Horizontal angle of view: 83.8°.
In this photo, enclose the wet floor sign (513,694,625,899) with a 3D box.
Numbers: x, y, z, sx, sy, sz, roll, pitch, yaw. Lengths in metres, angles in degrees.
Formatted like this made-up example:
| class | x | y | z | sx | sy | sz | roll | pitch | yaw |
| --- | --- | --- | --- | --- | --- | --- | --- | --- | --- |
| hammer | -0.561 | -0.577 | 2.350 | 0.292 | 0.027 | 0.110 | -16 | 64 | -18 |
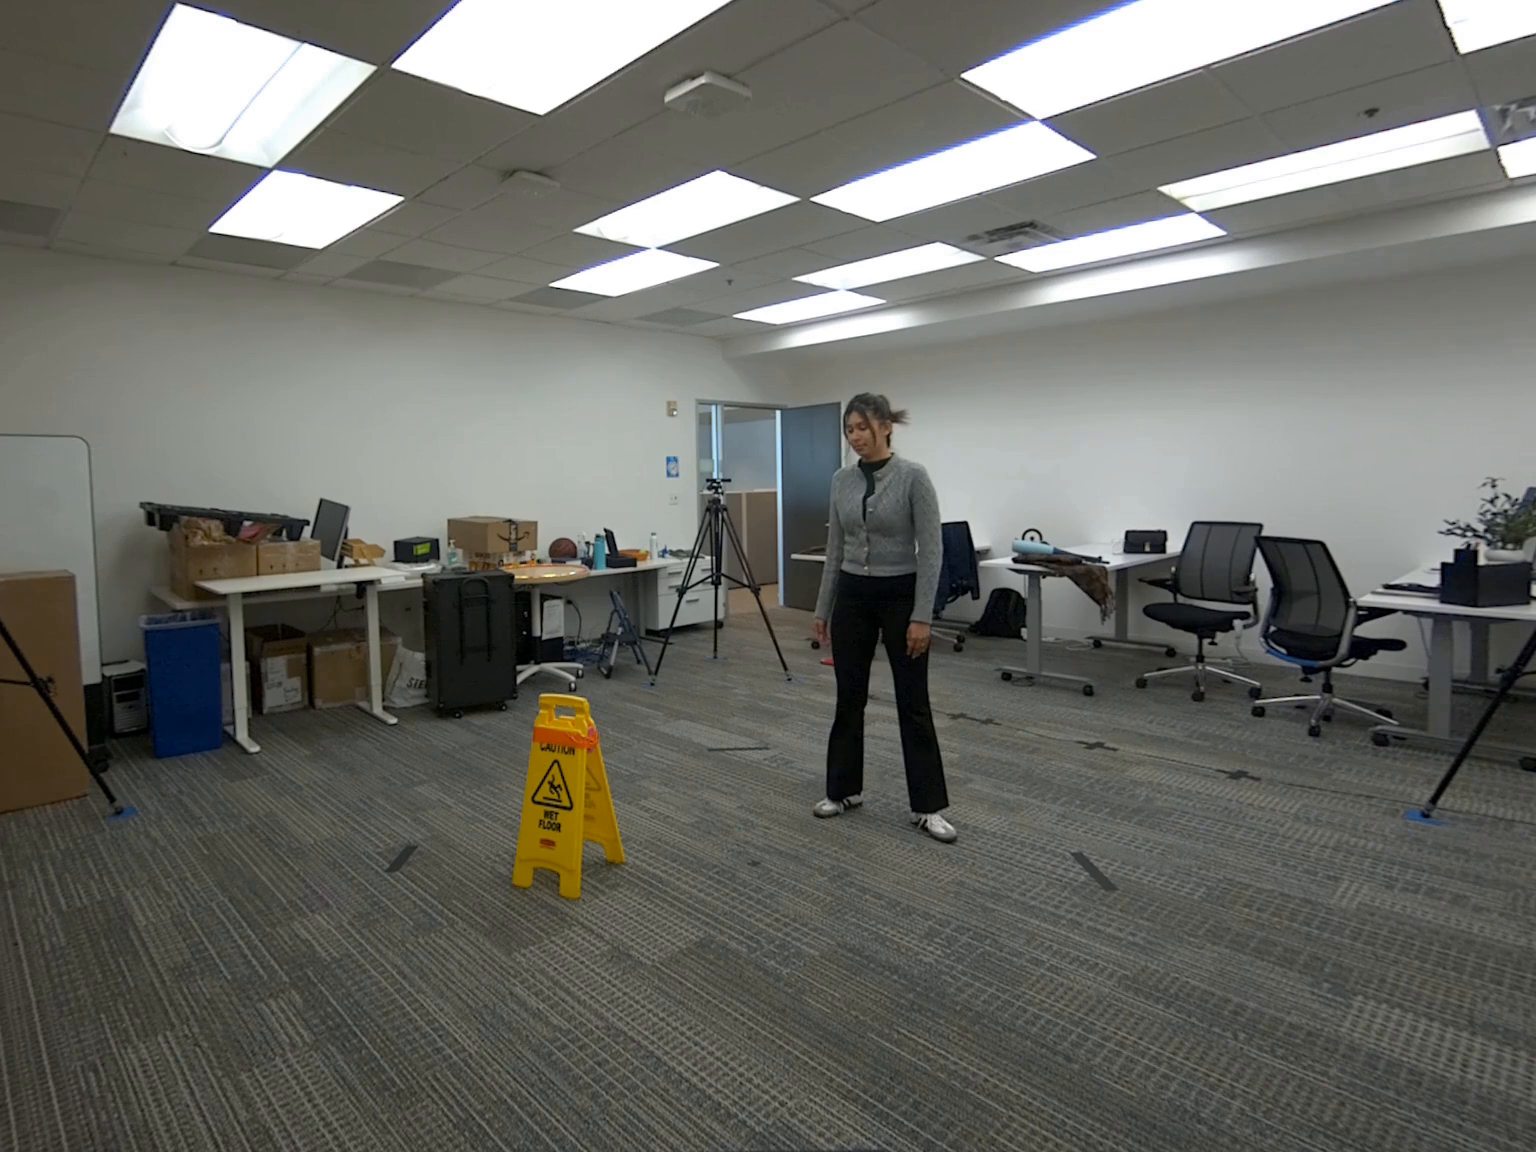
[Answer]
| class | x | y | z | sx | sy | sz | roll | pitch | yaw |
| --- | --- | --- | --- | --- | --- | --- | --- | --- | --- |
| wet floor sign | -0.714 | 0.743 | 3.029 | 0.288 | 0.644 | 0.284 | 0 | 4 | 24 |
